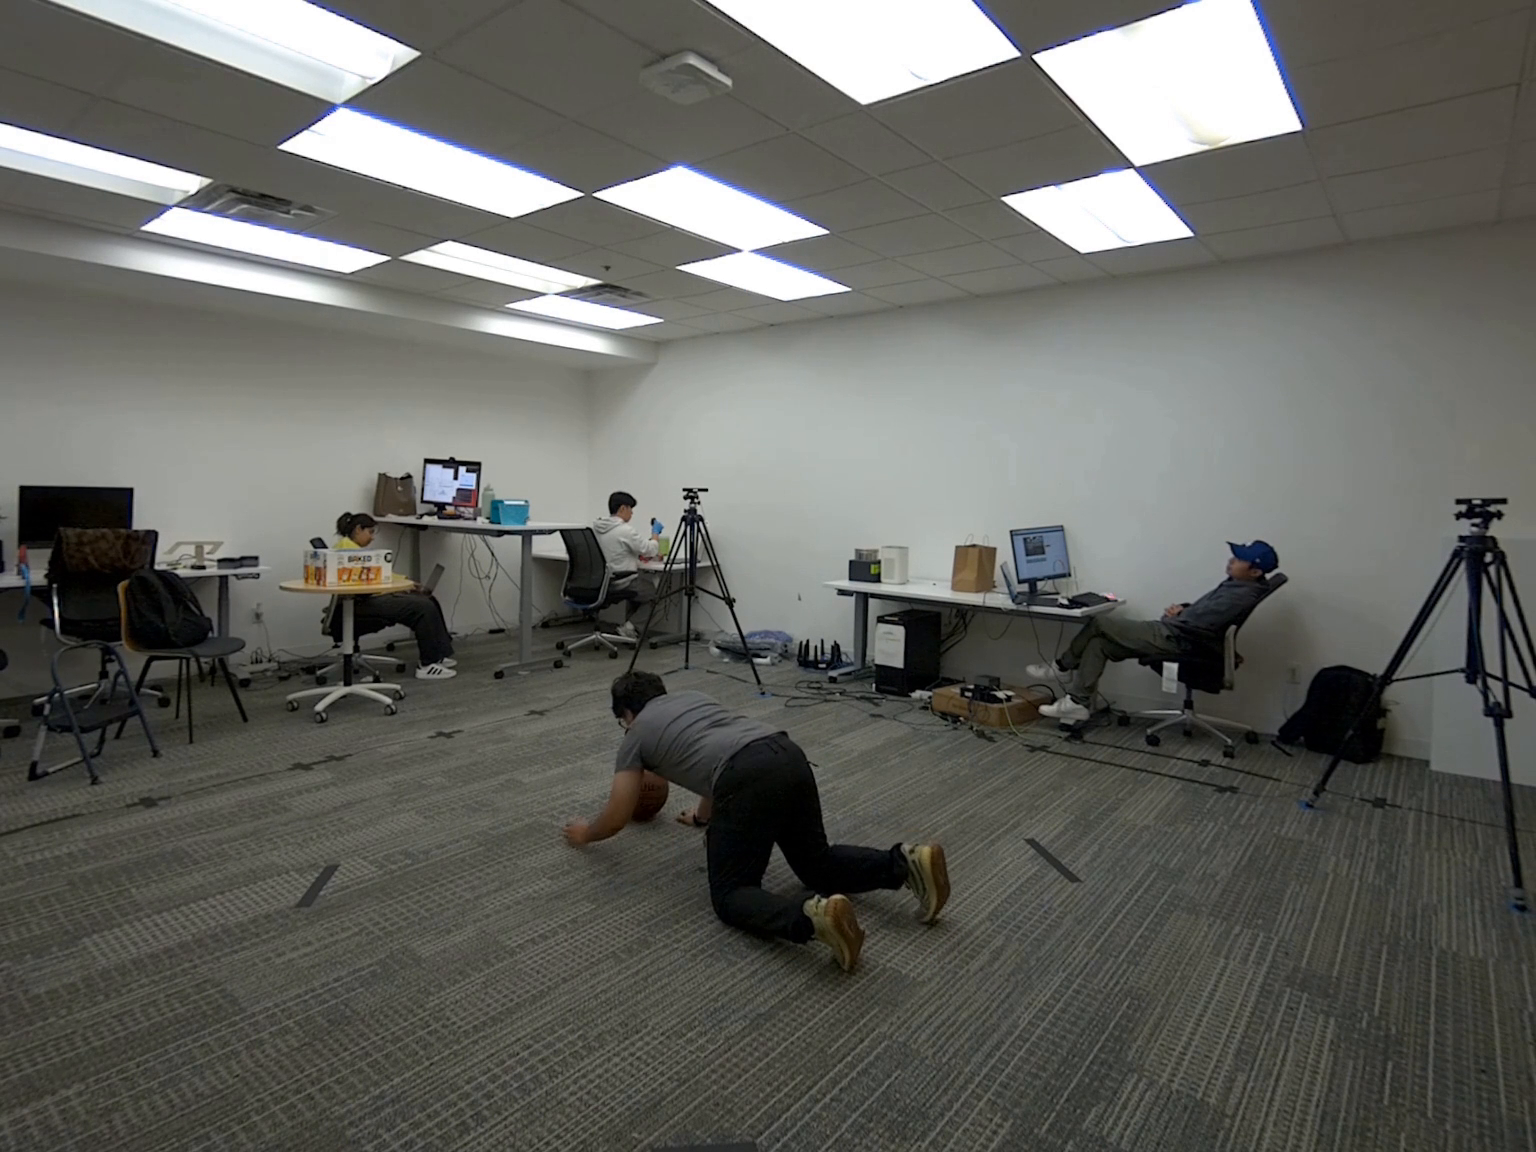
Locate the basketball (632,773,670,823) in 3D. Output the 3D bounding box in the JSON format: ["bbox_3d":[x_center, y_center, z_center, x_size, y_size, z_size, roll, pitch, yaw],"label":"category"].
[{"bbox_3d":[-0.545,0.892,3.593,0.235,0.235,0.237,1,4,-2],"label":"basketball"}]
